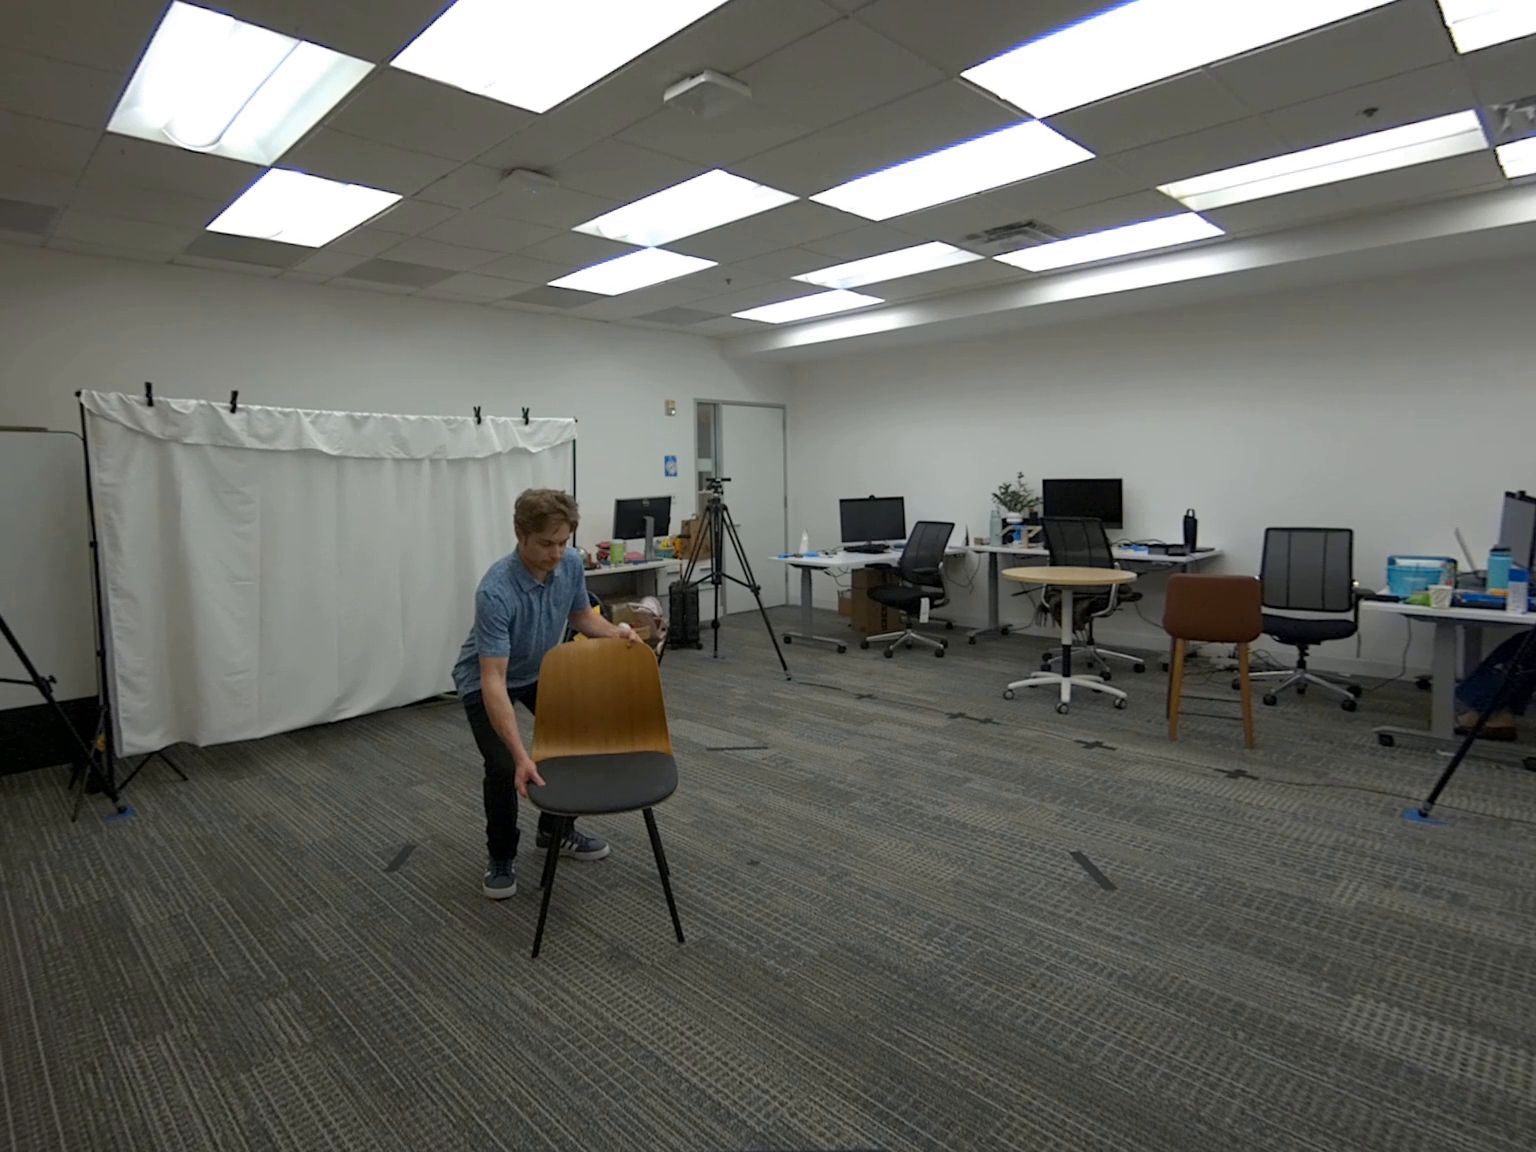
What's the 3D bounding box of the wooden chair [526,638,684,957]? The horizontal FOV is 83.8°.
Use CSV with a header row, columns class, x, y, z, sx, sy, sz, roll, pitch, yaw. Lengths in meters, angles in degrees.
class,x,y,z,sx,sy,sz,roll,pitch,yaw
wooden chair,-0.516,0.664,2.722,0.473,0.877,0.529,-1,1,-11
